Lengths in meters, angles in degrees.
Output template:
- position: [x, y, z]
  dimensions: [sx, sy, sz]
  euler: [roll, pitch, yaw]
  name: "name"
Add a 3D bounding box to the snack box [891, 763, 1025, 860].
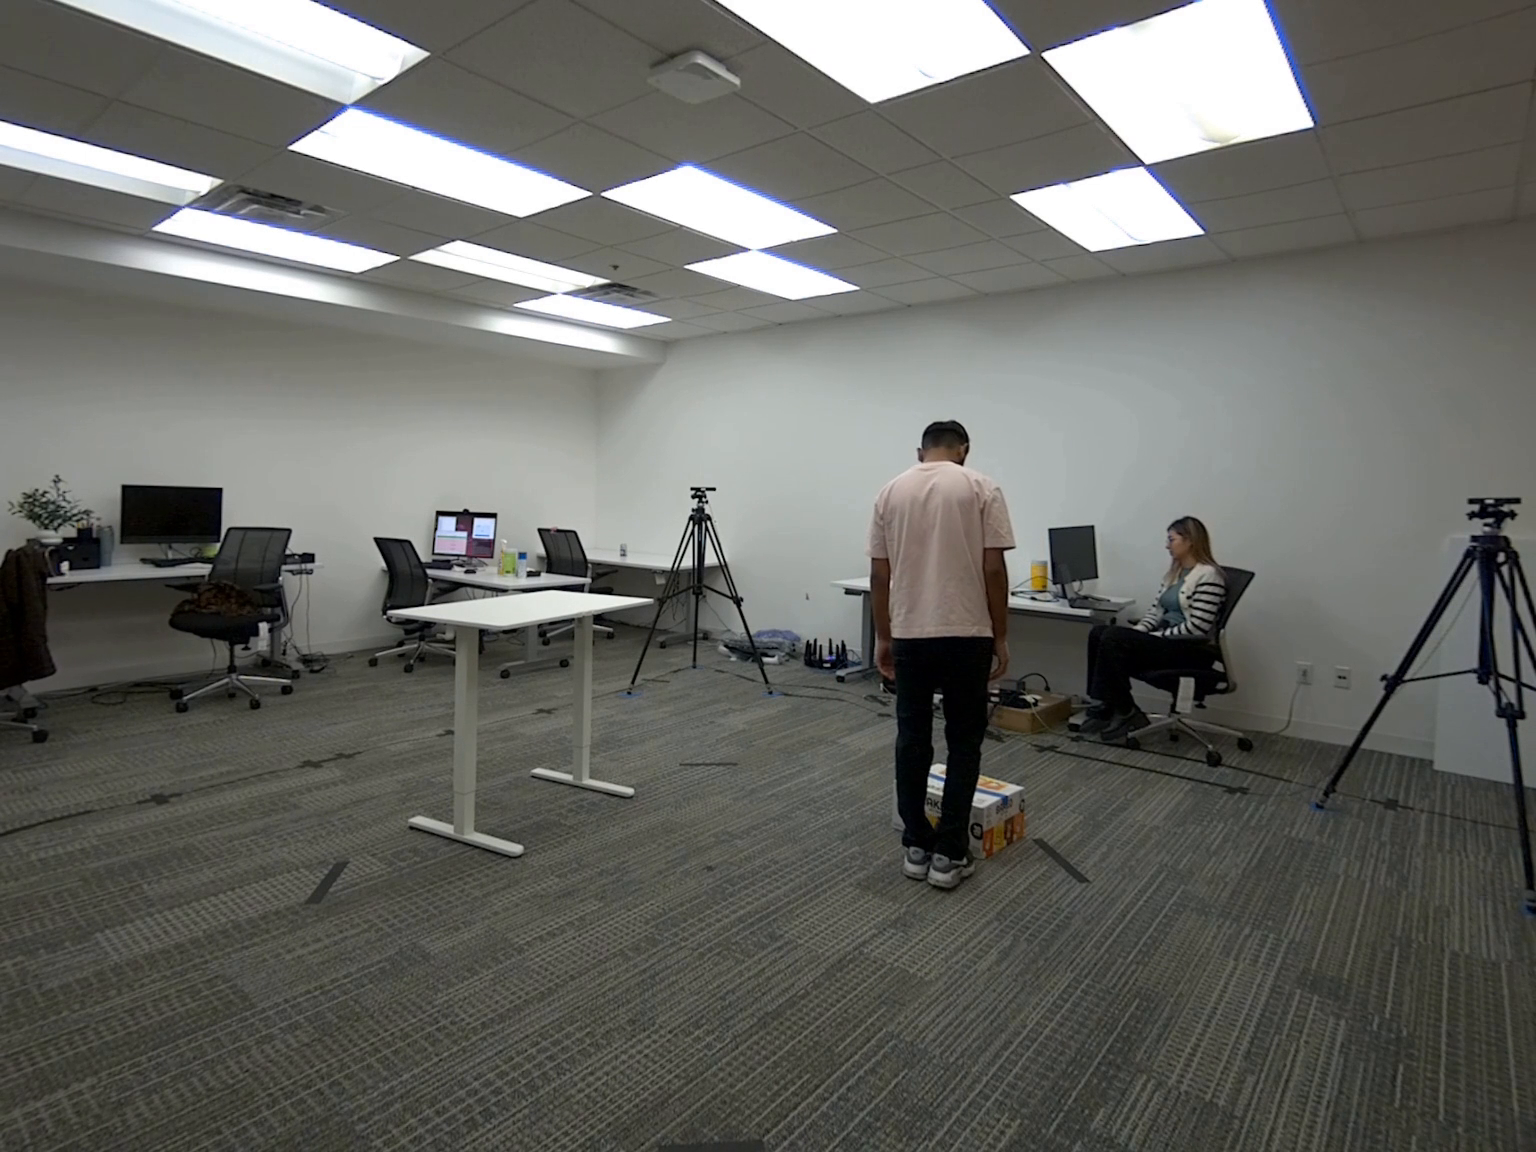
- position: [0.776, 0.950, 3.490]
  dimensions: [0.419, 0.205, 0.330]
  euler: [6, 7, 44]
  name: "snack box"
